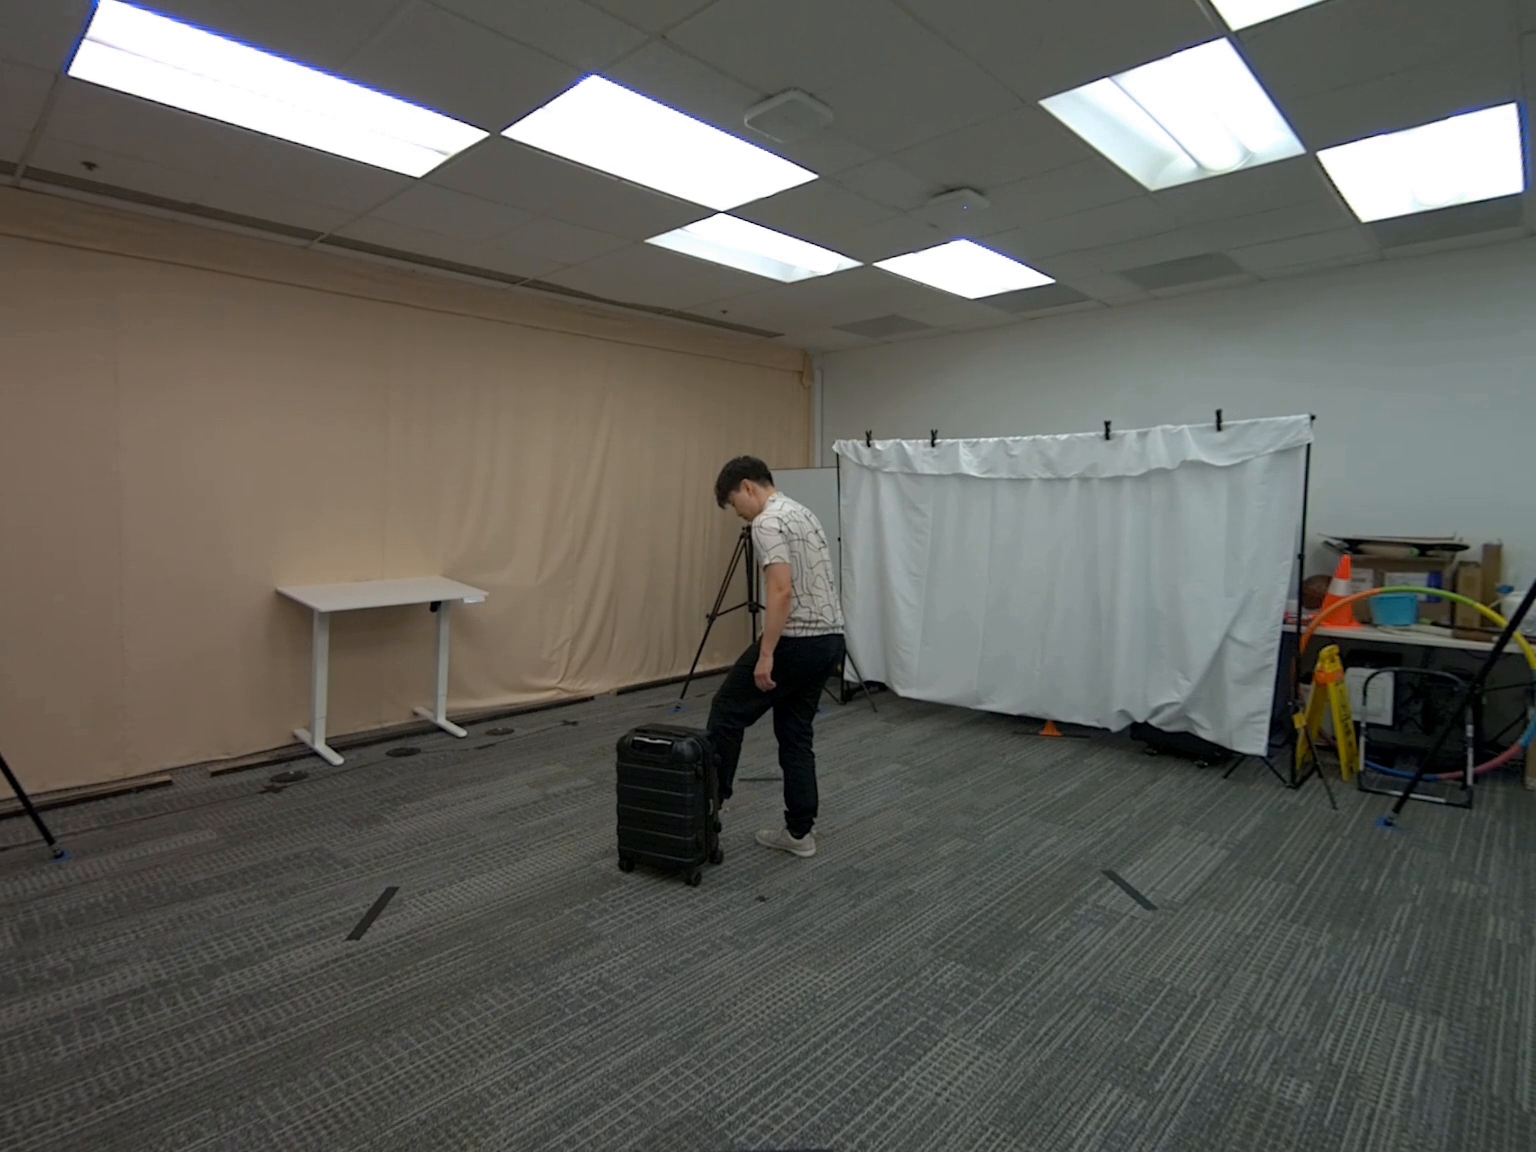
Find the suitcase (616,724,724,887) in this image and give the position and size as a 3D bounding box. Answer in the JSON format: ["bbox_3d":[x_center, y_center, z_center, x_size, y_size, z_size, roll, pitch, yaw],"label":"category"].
[{"bbox_3d":[-0.387,0.846,3.218,0.384,0.548,0.243,0,3,23],"label":"suitcase"}]
